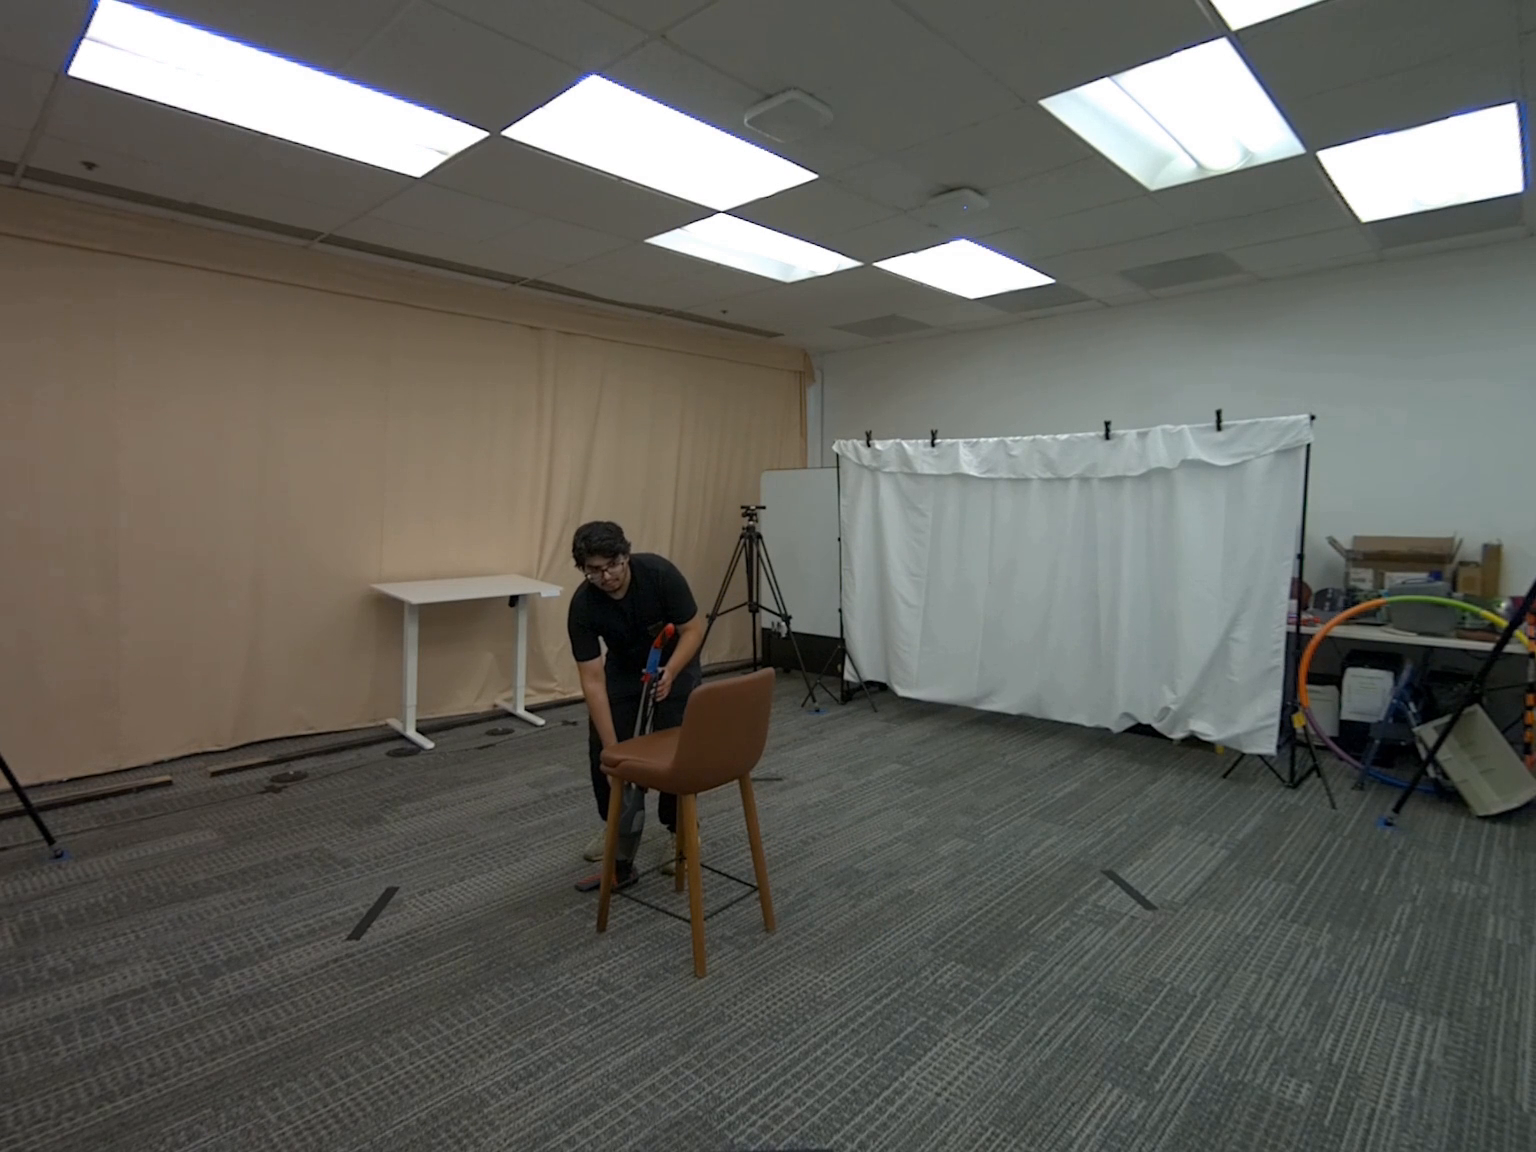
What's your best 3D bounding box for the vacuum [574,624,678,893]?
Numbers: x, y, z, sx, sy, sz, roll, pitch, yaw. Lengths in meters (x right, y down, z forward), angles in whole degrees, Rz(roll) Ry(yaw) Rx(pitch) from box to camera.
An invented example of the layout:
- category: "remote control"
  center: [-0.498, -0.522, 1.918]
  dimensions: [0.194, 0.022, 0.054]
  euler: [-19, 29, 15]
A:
- category: "vacuum"
  center: [-0.466, 0.661, 2.952]
  dimensions: [0.245, 1.042, 0.149]
  euler: [1, 22, -33]
